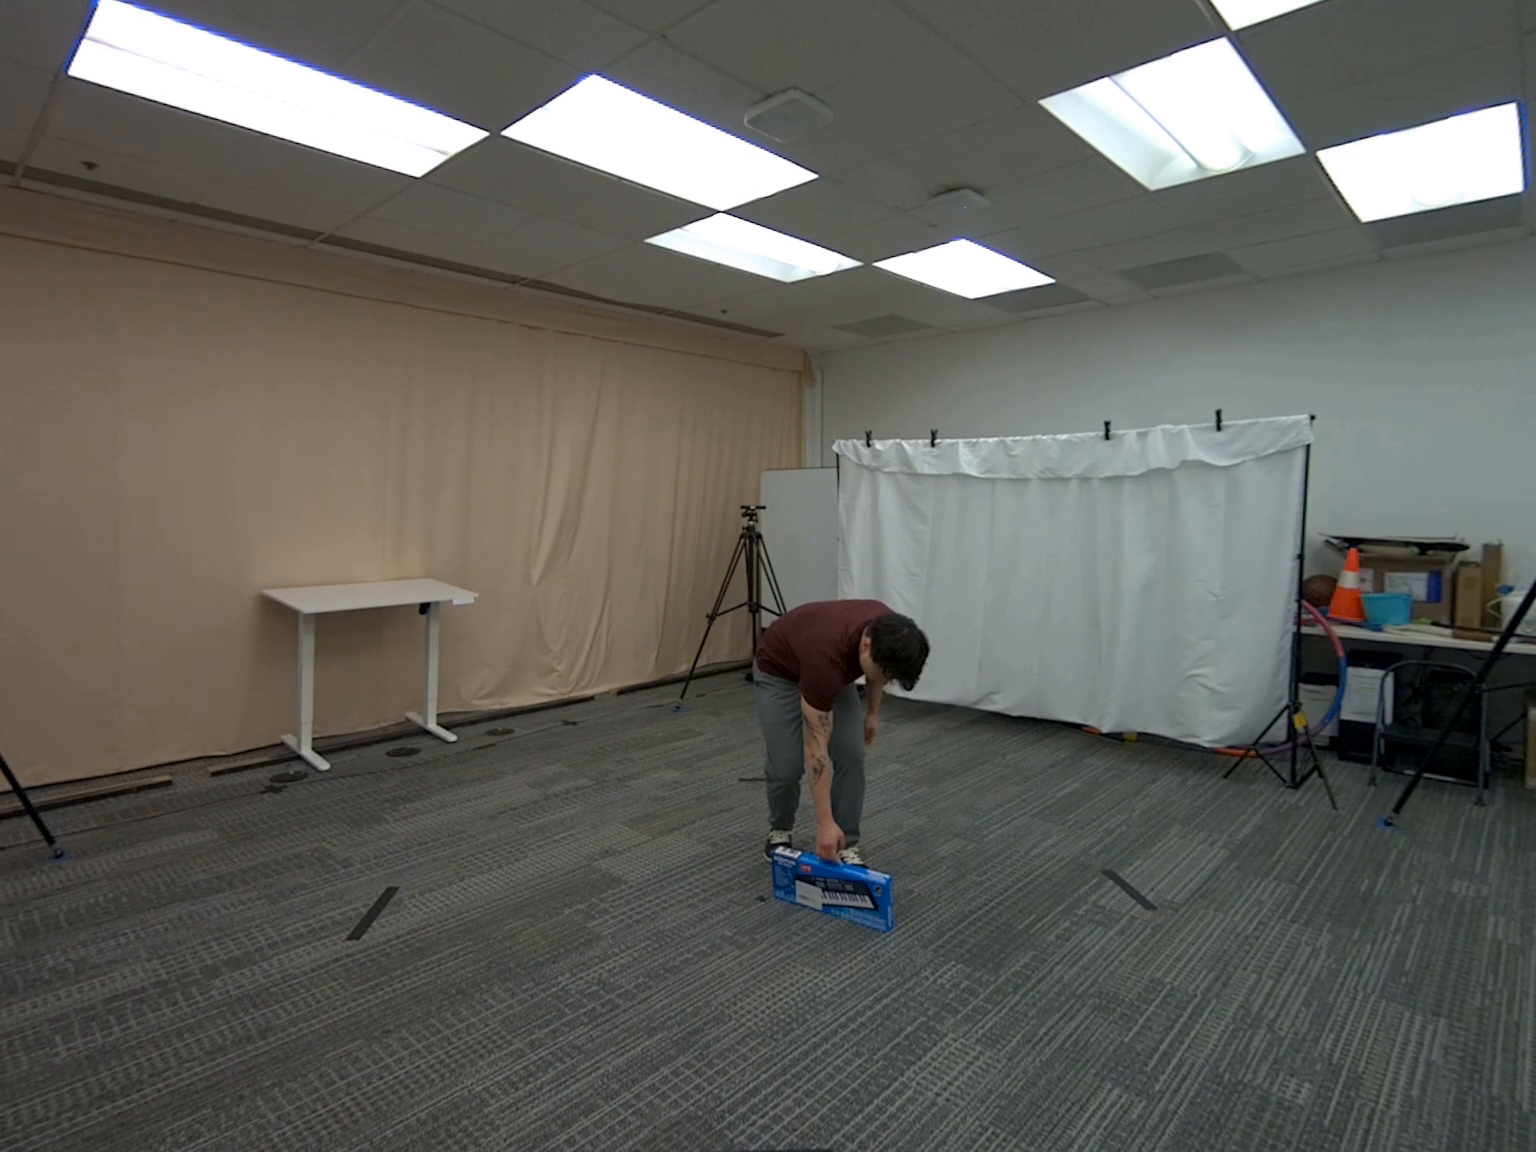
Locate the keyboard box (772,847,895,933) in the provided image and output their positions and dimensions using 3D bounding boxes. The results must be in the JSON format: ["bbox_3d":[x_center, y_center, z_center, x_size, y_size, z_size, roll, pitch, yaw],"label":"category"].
[{"bbox_3d":[0.215,1.061,2.880,0.450,0.175,0.057,3,11,35],"label":"keyboard box"}]
